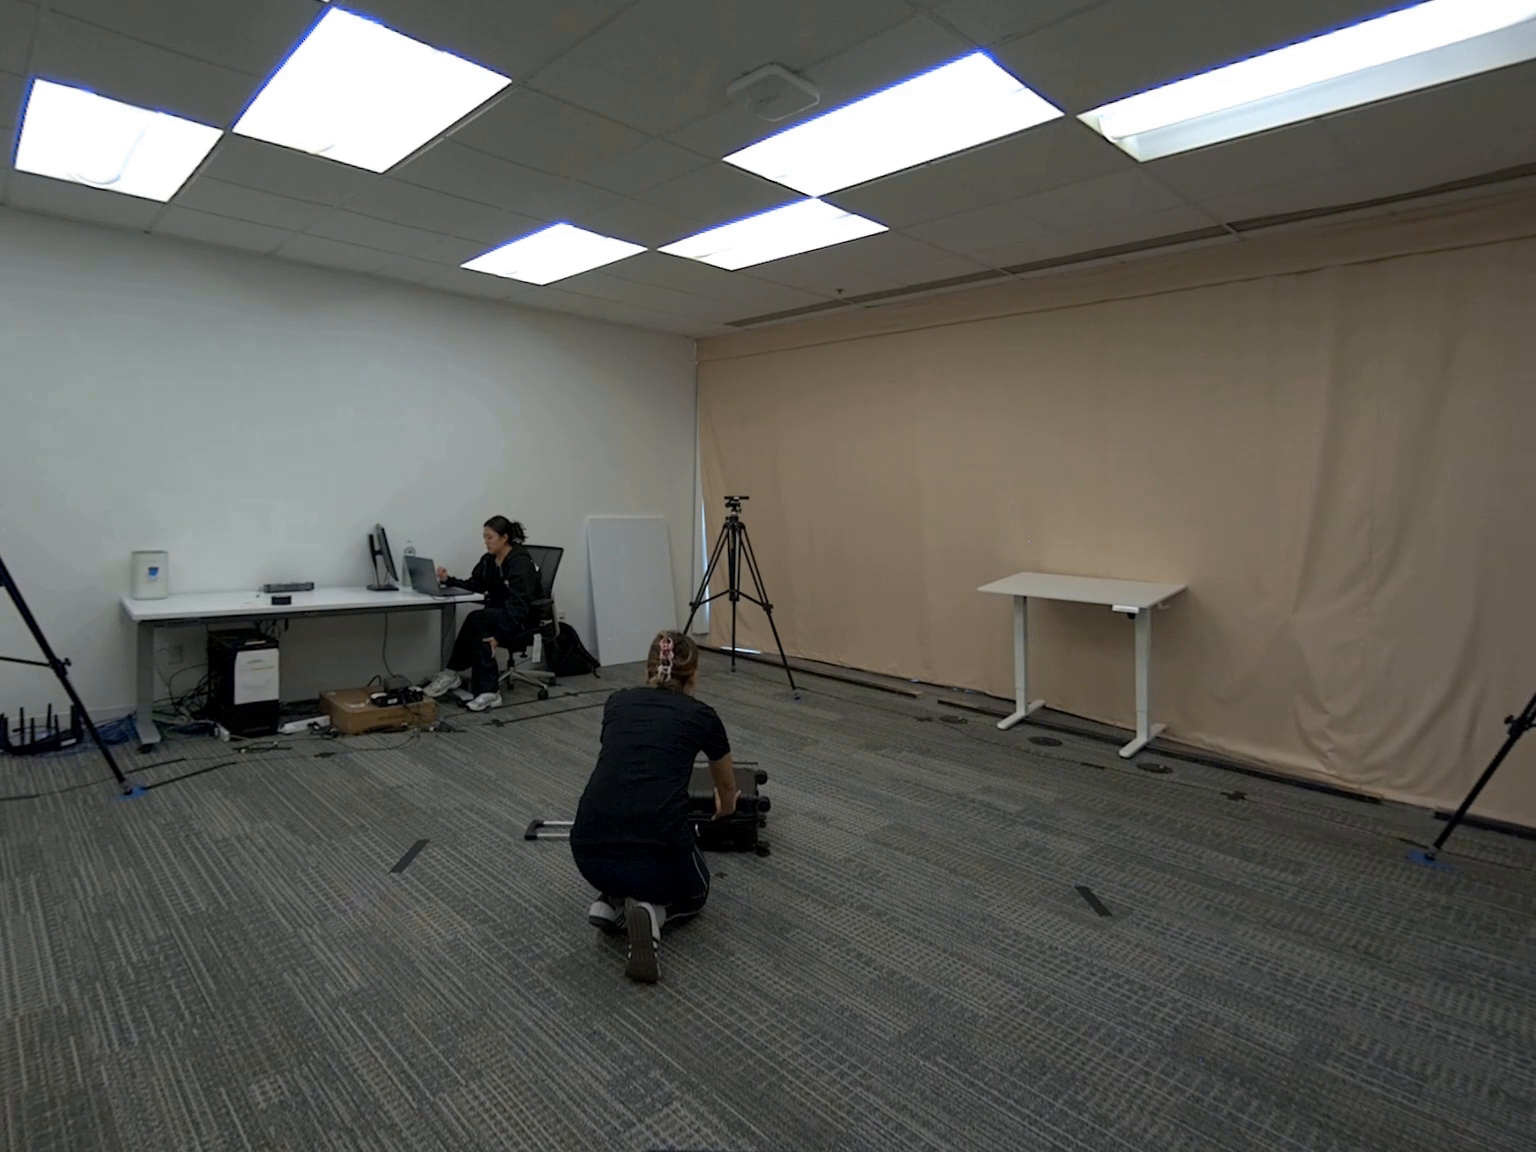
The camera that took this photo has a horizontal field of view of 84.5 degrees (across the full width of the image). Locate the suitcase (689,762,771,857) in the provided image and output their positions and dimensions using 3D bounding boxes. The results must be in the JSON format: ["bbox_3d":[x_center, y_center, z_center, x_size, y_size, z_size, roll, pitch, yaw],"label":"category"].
[{"bbox_3d":[-0.486,0.942,3.455,0.978,0.256,0.385,3,6,0],"label":"suitcase"}]
